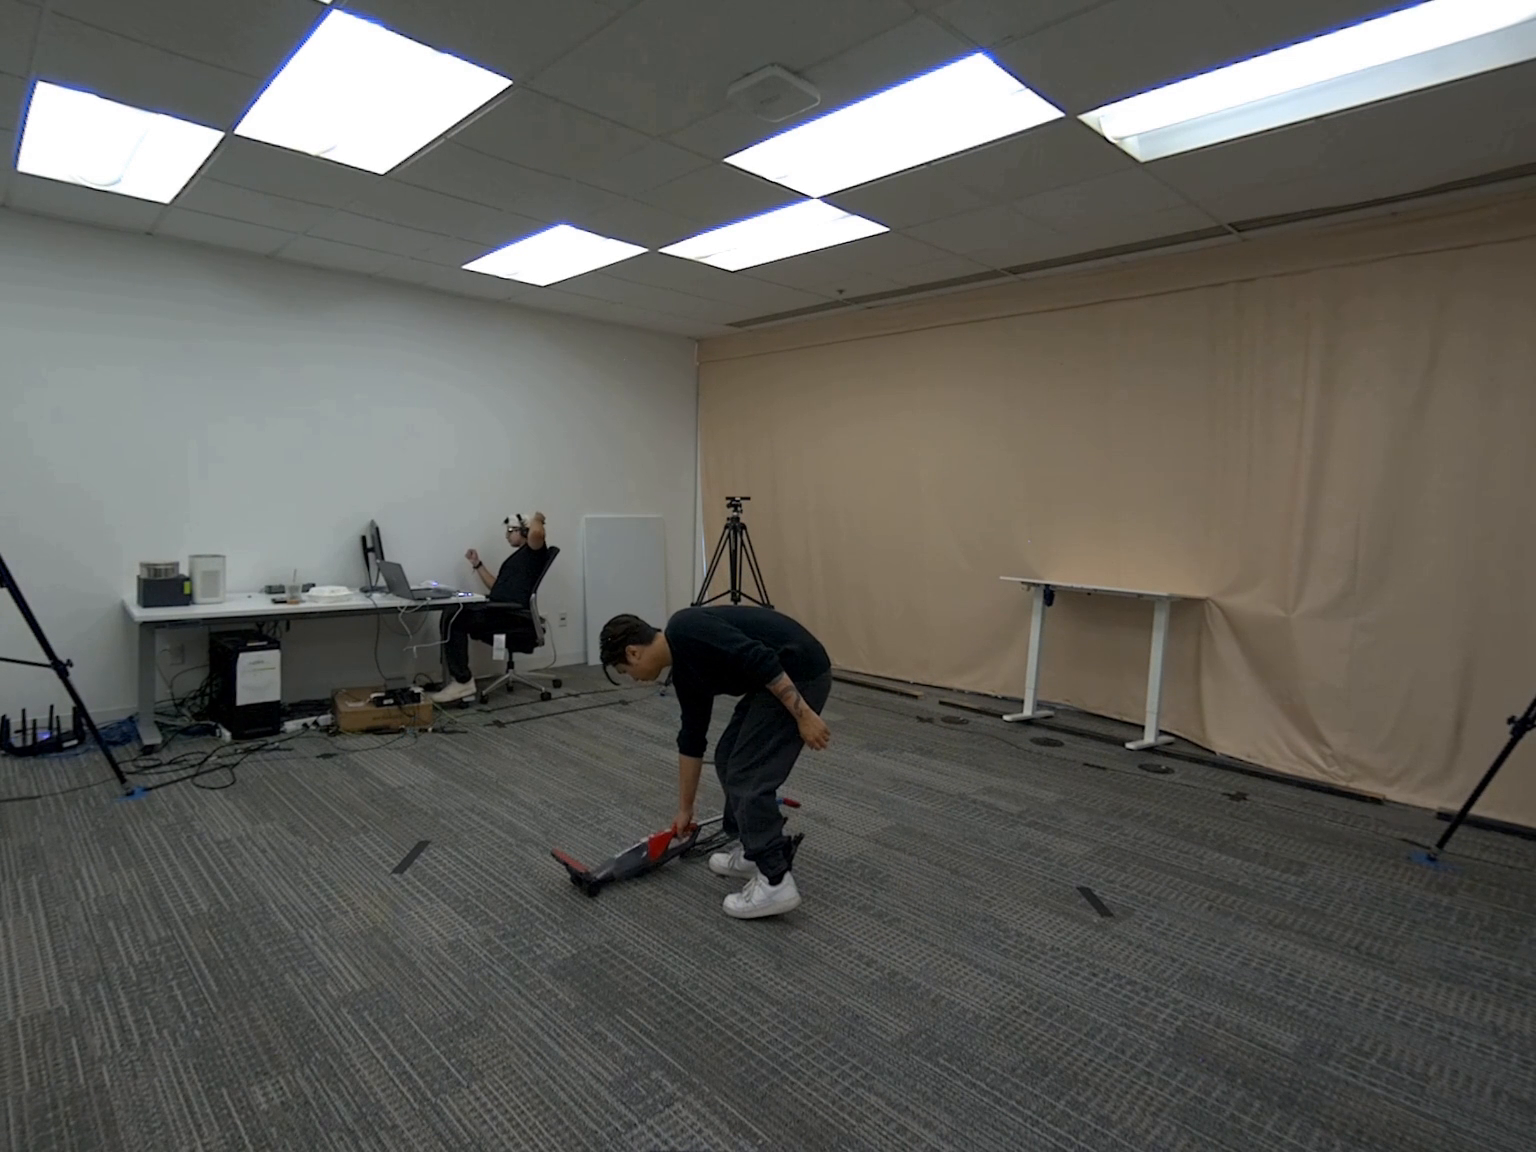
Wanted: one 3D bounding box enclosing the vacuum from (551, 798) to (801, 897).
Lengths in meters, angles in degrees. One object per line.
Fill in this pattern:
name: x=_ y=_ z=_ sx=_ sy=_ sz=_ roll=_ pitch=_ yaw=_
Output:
vacuum: x=-0.279 y=1.010 z=3.264 sx=1.027 sy=0.143 sz=0.259 roll=-4 pitch=6 yaw=-38
